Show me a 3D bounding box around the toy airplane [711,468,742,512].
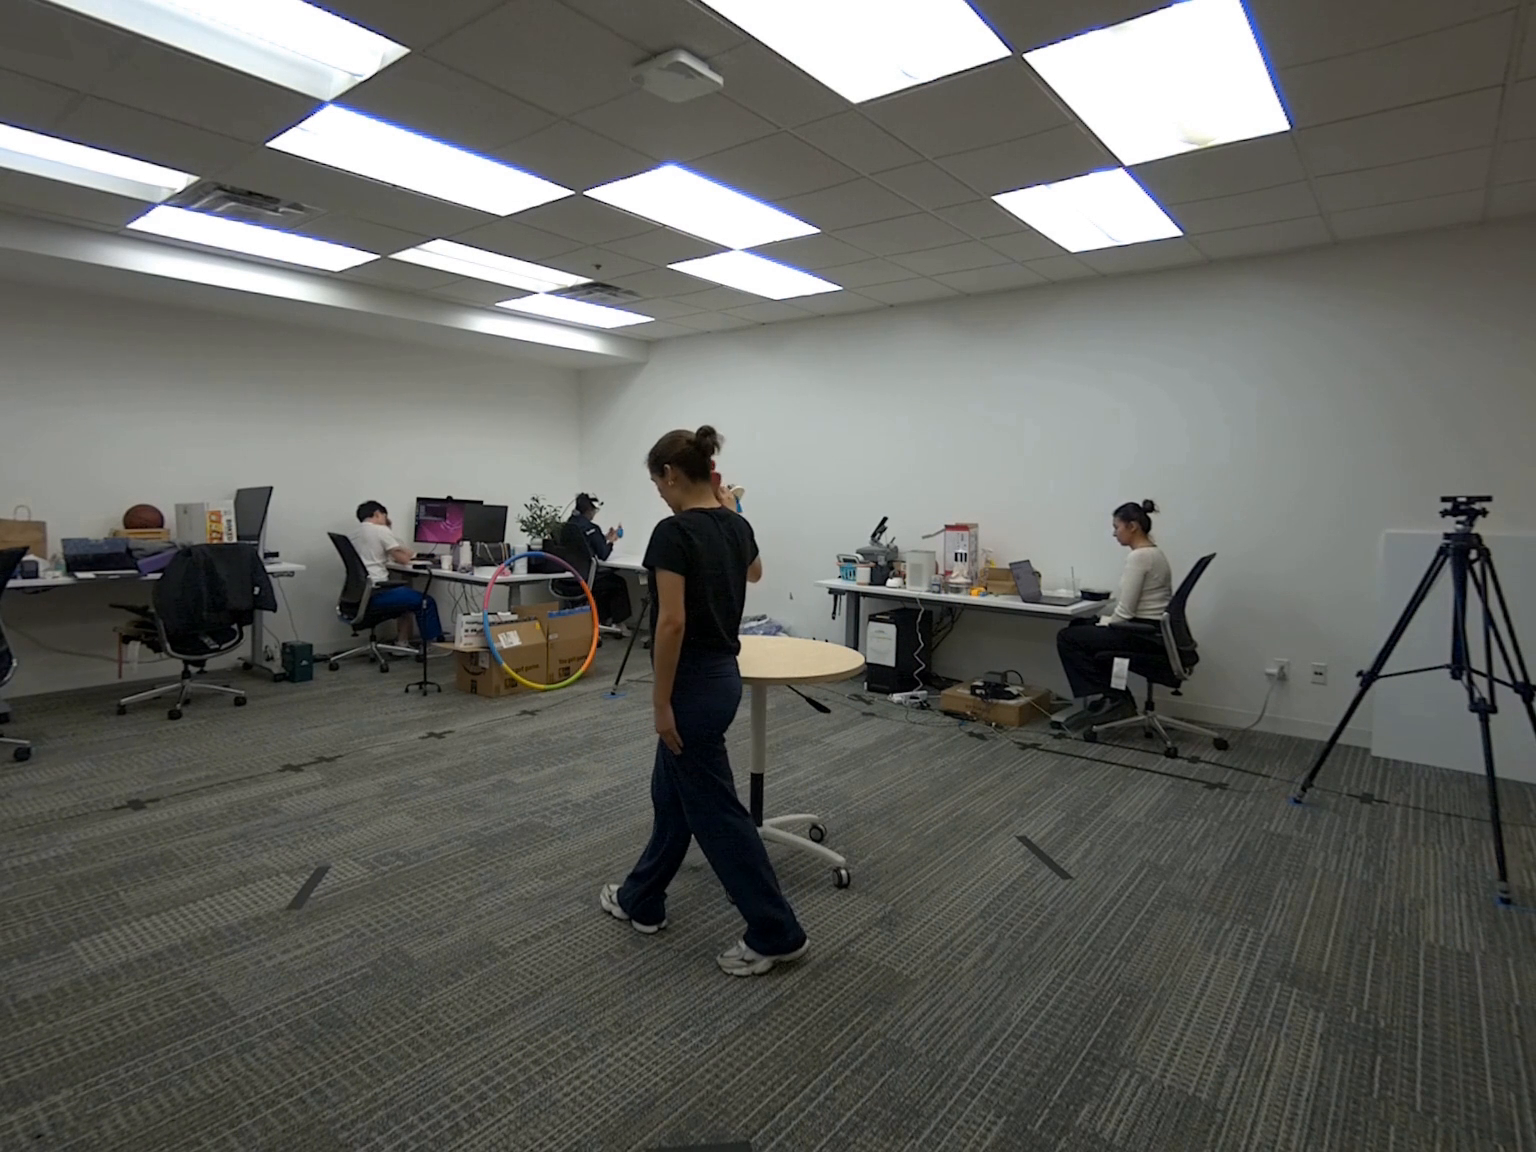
[{"bbox_3d":[-0.184,-0.308,3.025,0.259,0.243,0.161,-5,36,0],"label":"toy airplane"}]
